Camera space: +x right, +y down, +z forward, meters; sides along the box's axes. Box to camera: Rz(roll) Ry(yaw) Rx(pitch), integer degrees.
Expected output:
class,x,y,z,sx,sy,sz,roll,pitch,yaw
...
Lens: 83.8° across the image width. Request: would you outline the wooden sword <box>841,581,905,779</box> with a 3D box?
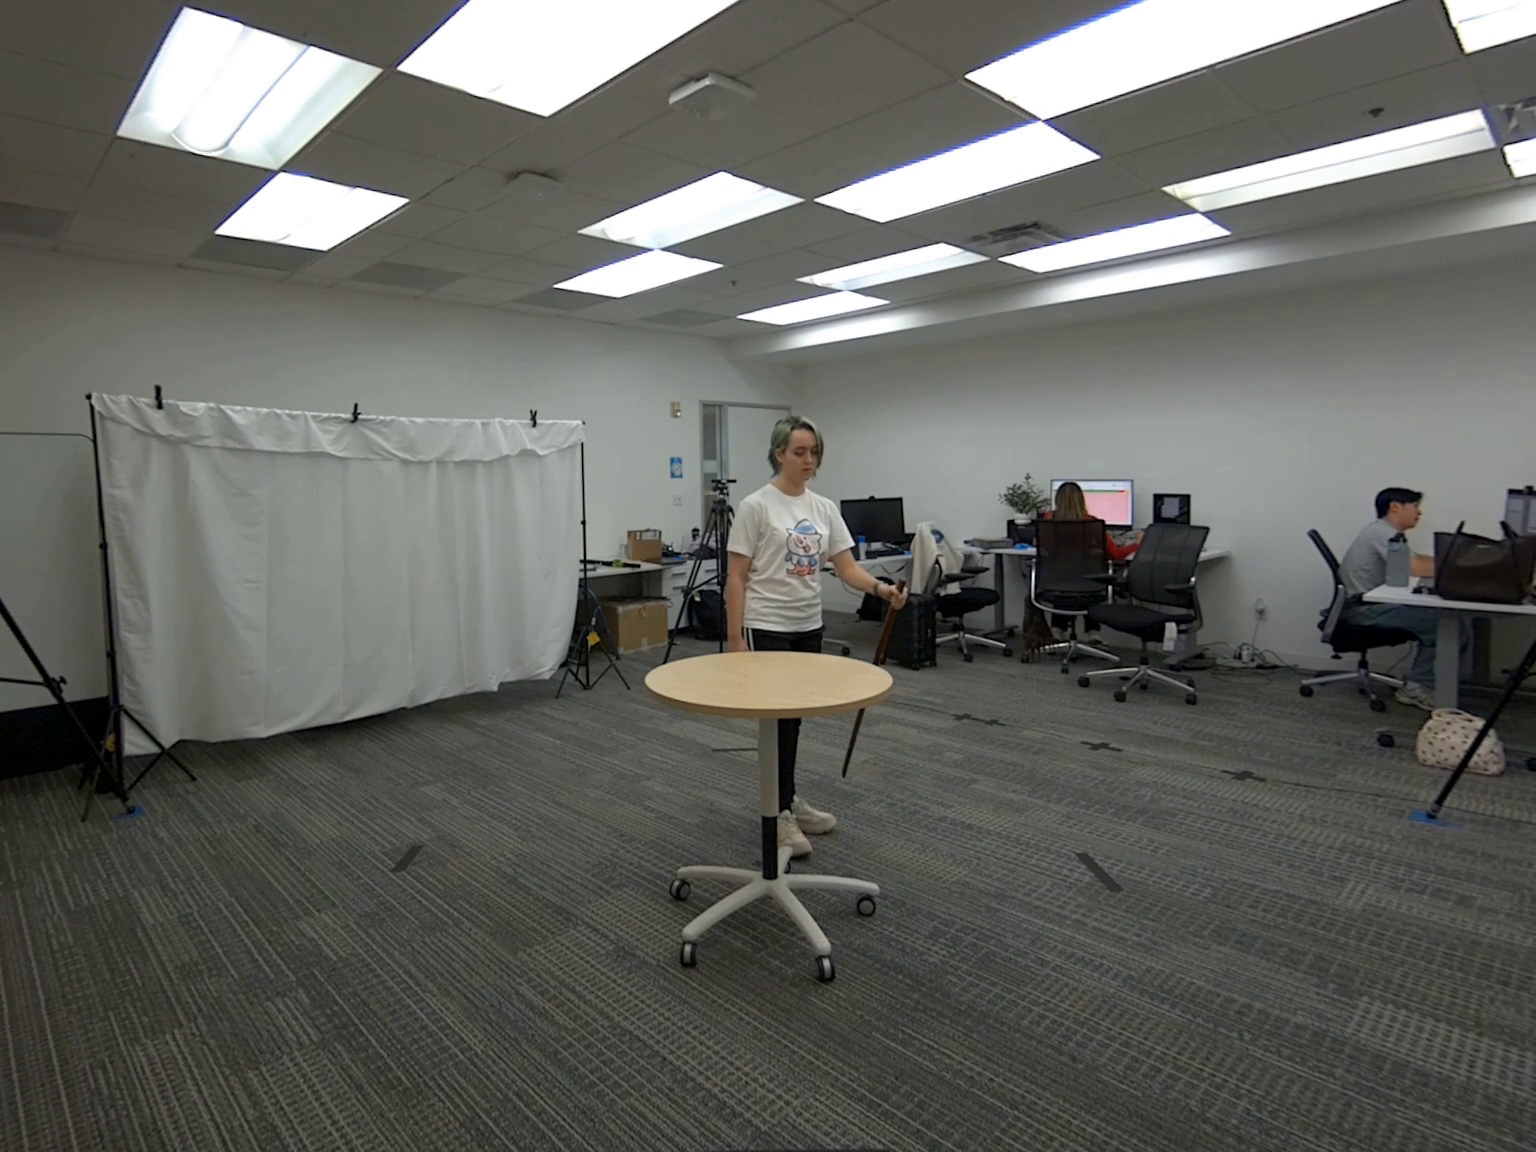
class,x,y,z,sx,sy,sz,roll,pitch,yaw
wooden sword,0.396,0.450,3.348,0.023,1.005,0.053,-9,40,-28
